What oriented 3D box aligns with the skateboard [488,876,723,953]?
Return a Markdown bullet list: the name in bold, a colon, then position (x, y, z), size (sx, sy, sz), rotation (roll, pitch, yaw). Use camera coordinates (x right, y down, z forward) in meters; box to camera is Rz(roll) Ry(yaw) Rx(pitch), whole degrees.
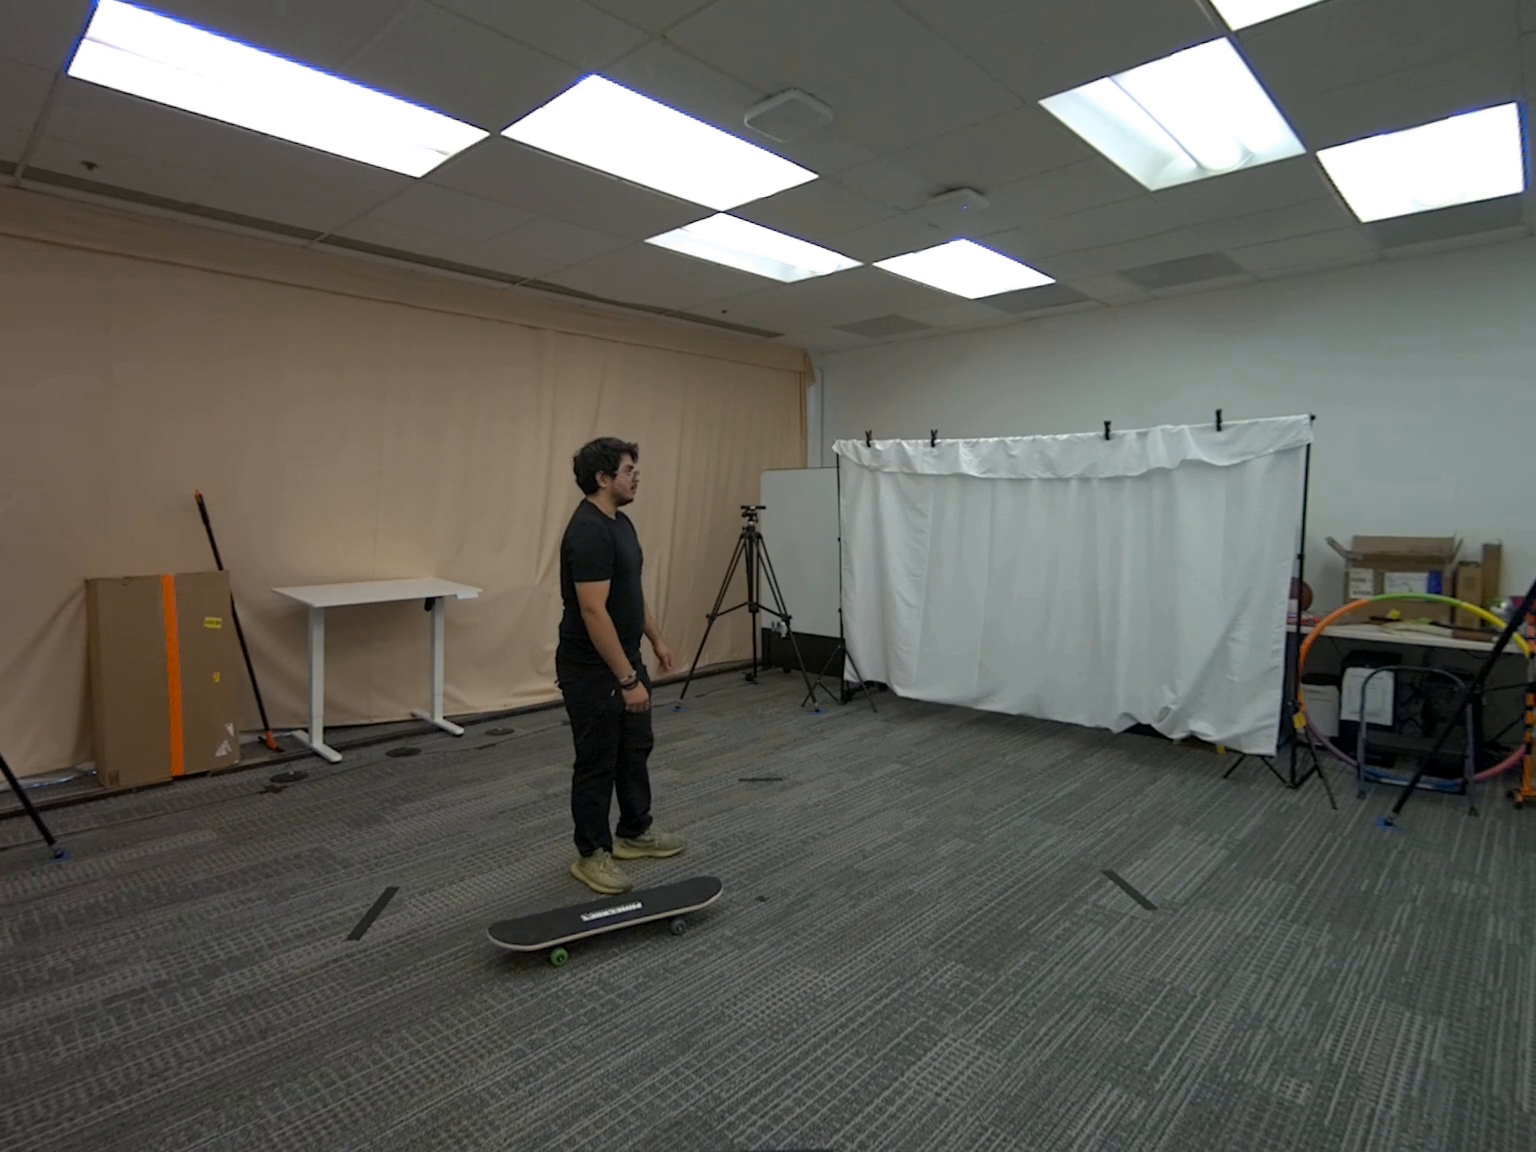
- **skateboard**: position (-0.500, 1.108, 2.715), size (0.766, 0.110, 0.199), rotation (-3, 6, -27)
